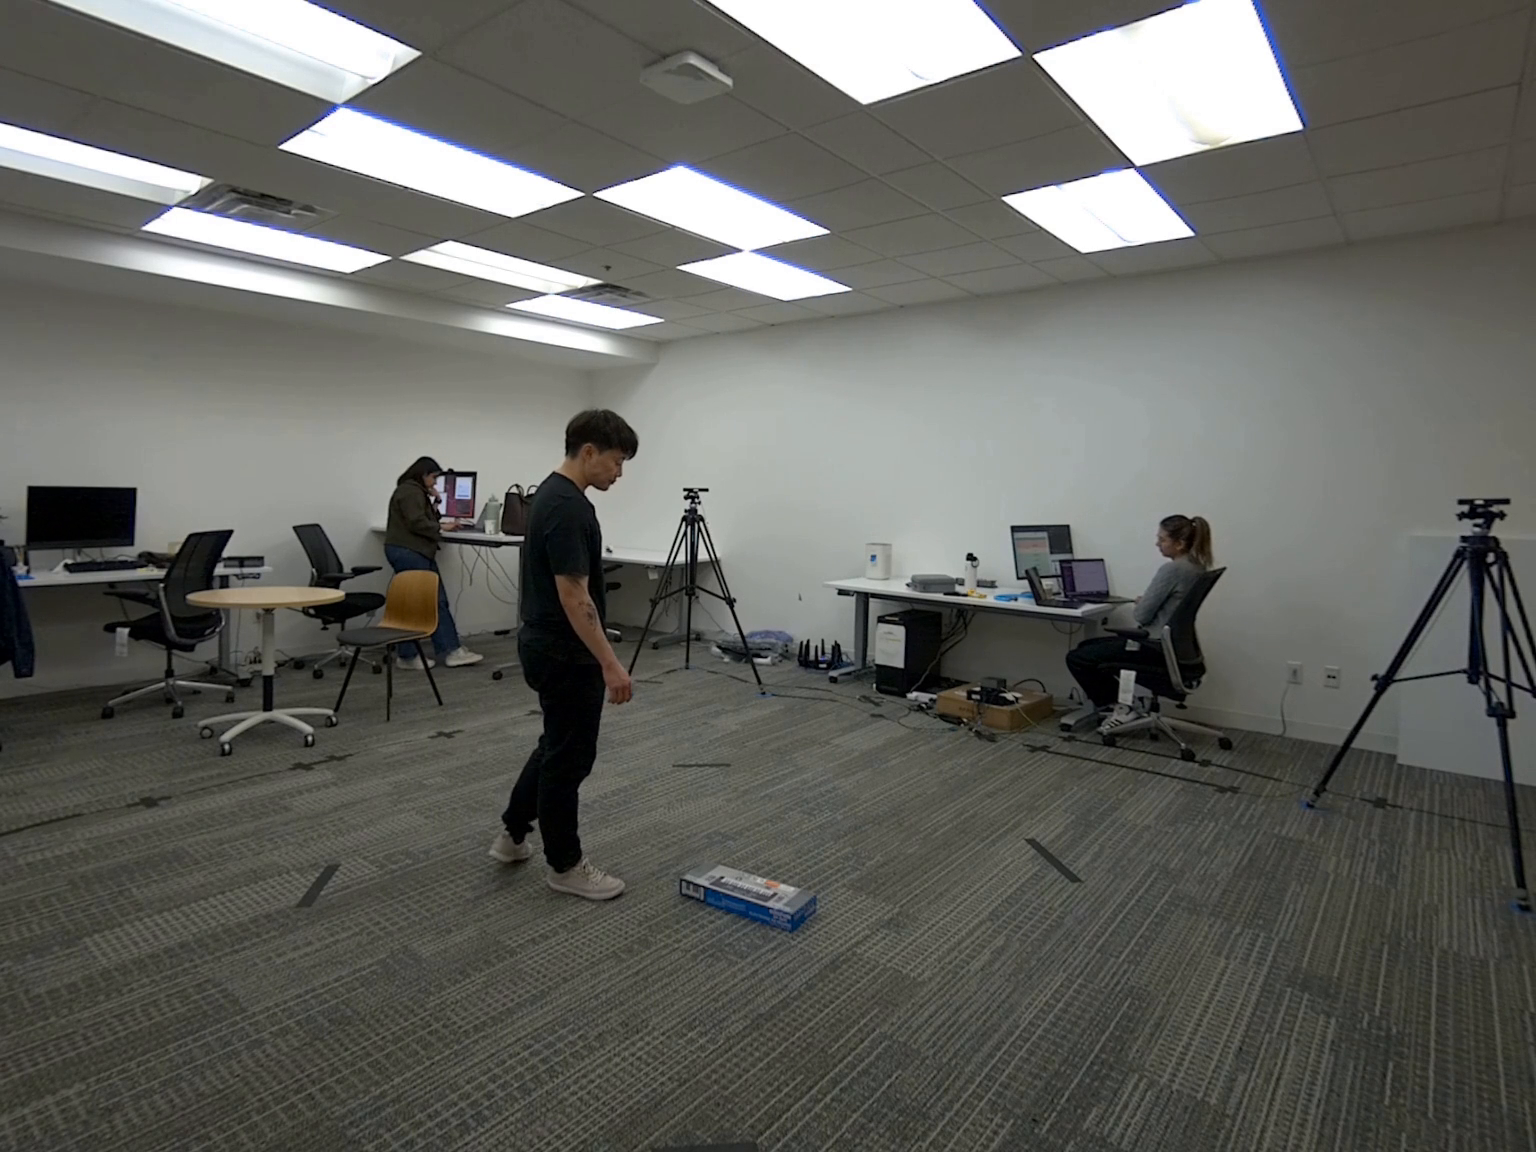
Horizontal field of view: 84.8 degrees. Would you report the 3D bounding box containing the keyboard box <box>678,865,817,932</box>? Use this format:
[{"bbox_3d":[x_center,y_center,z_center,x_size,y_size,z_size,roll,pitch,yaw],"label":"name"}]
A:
[{"bbox_3d":[-0.078,1.067,2.858,0.450,0.059,0.171,5,5,32],"label":"keyboard box"}]
